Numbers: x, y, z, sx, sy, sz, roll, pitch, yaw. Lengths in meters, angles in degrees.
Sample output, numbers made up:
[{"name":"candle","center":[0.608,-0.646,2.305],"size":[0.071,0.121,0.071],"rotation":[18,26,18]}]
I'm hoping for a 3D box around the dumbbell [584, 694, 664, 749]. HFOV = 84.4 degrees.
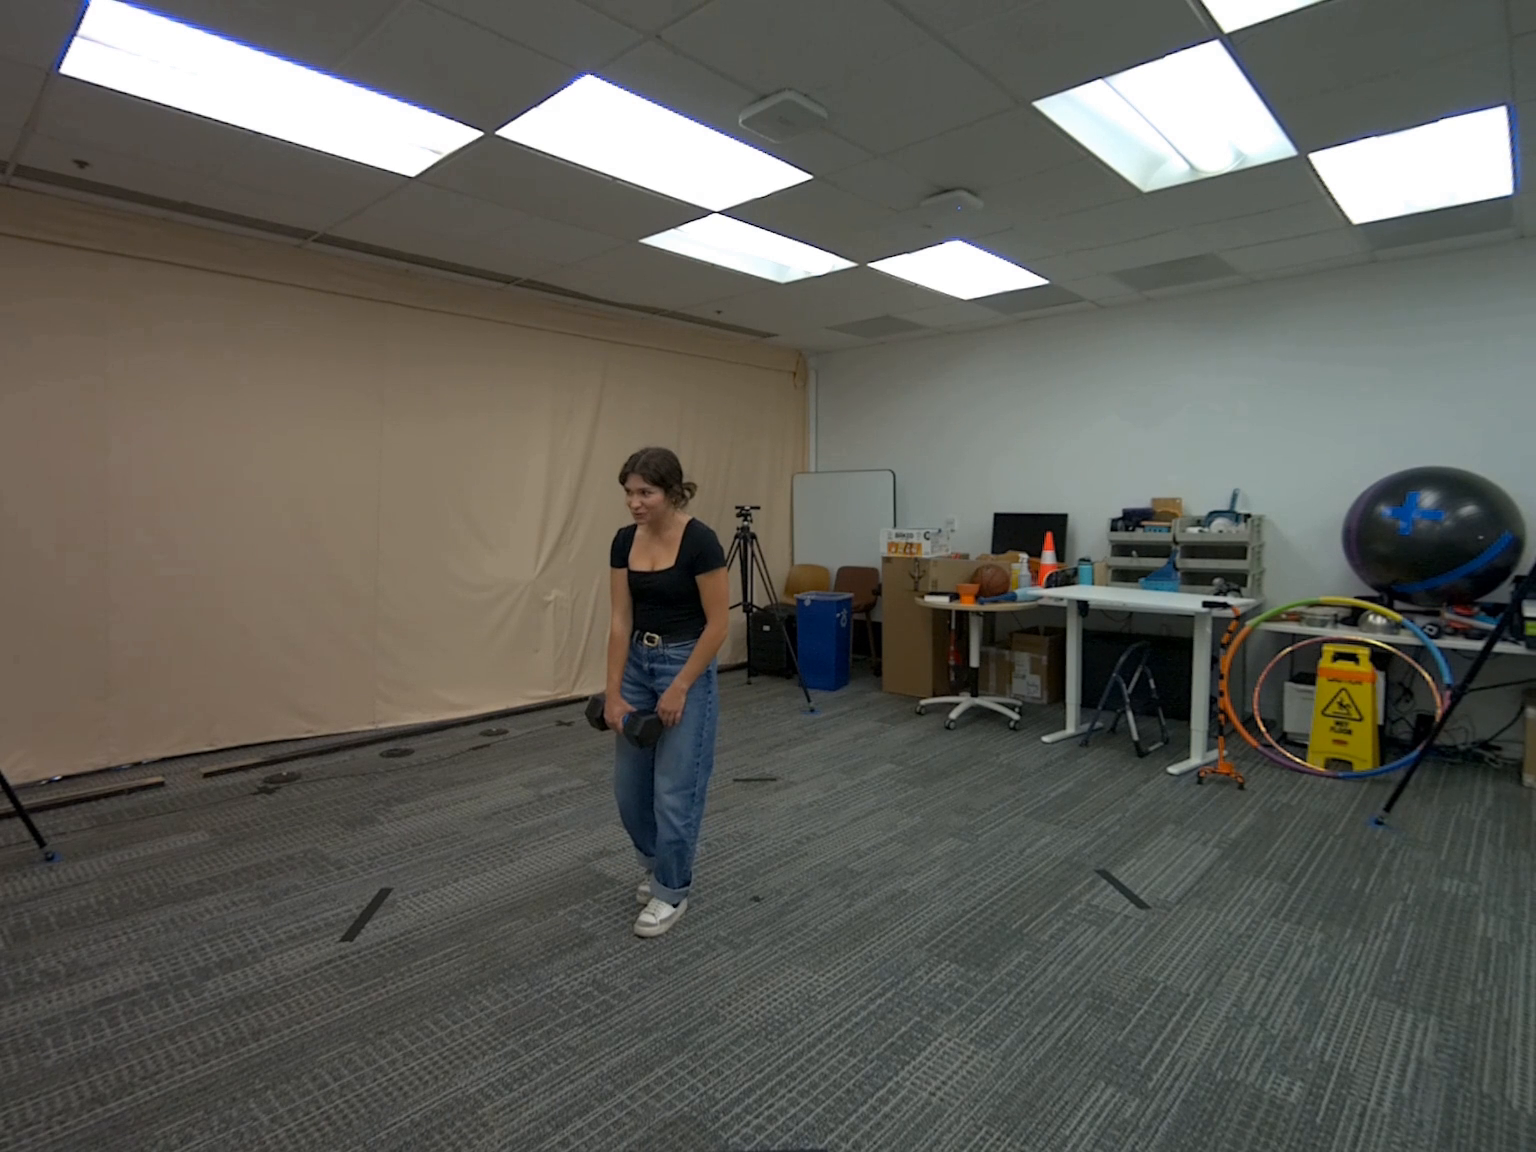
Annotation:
[{"name":"dumbbell","center":[-0.470,0.475,2.767],"size":[0.304,0.120,0.107],"rotation":[10,40,43]}]
